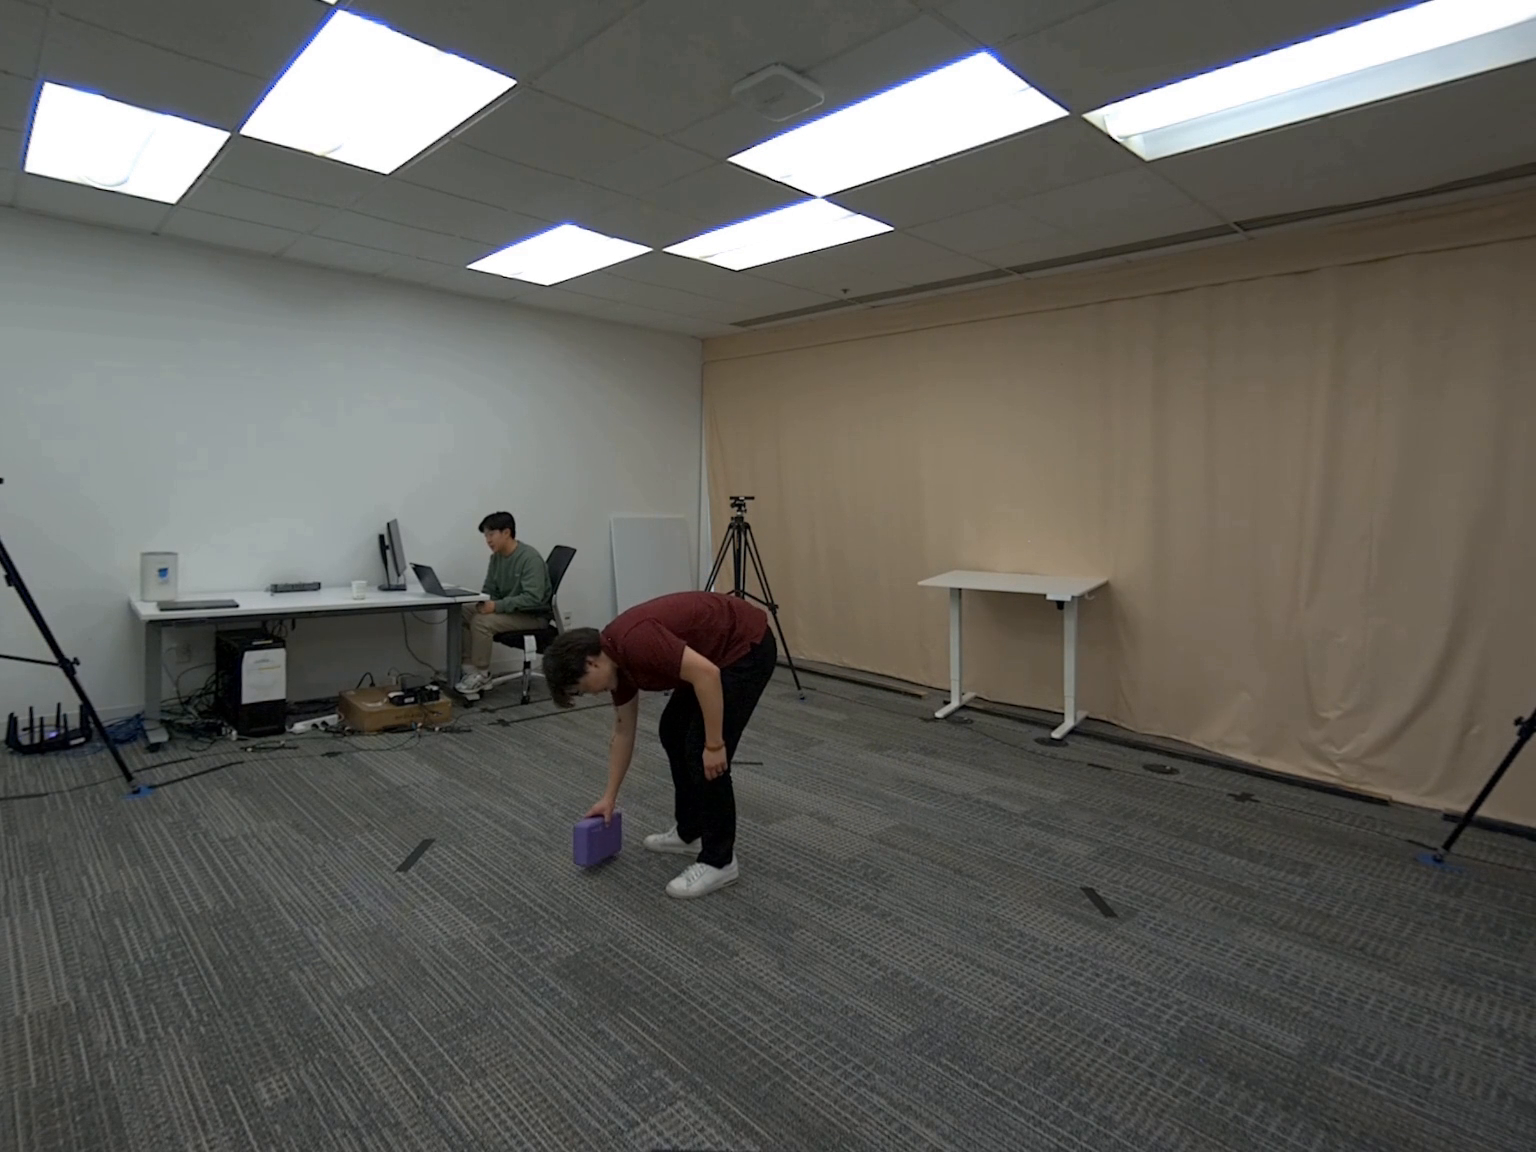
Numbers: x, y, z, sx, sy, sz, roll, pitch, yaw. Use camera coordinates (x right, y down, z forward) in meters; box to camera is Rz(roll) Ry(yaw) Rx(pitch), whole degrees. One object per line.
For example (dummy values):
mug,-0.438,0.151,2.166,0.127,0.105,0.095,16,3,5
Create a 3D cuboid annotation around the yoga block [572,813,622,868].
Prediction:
yoga block,-0.644,0.986,3.174,0.078,0.149,0.225,-1,-1,22
